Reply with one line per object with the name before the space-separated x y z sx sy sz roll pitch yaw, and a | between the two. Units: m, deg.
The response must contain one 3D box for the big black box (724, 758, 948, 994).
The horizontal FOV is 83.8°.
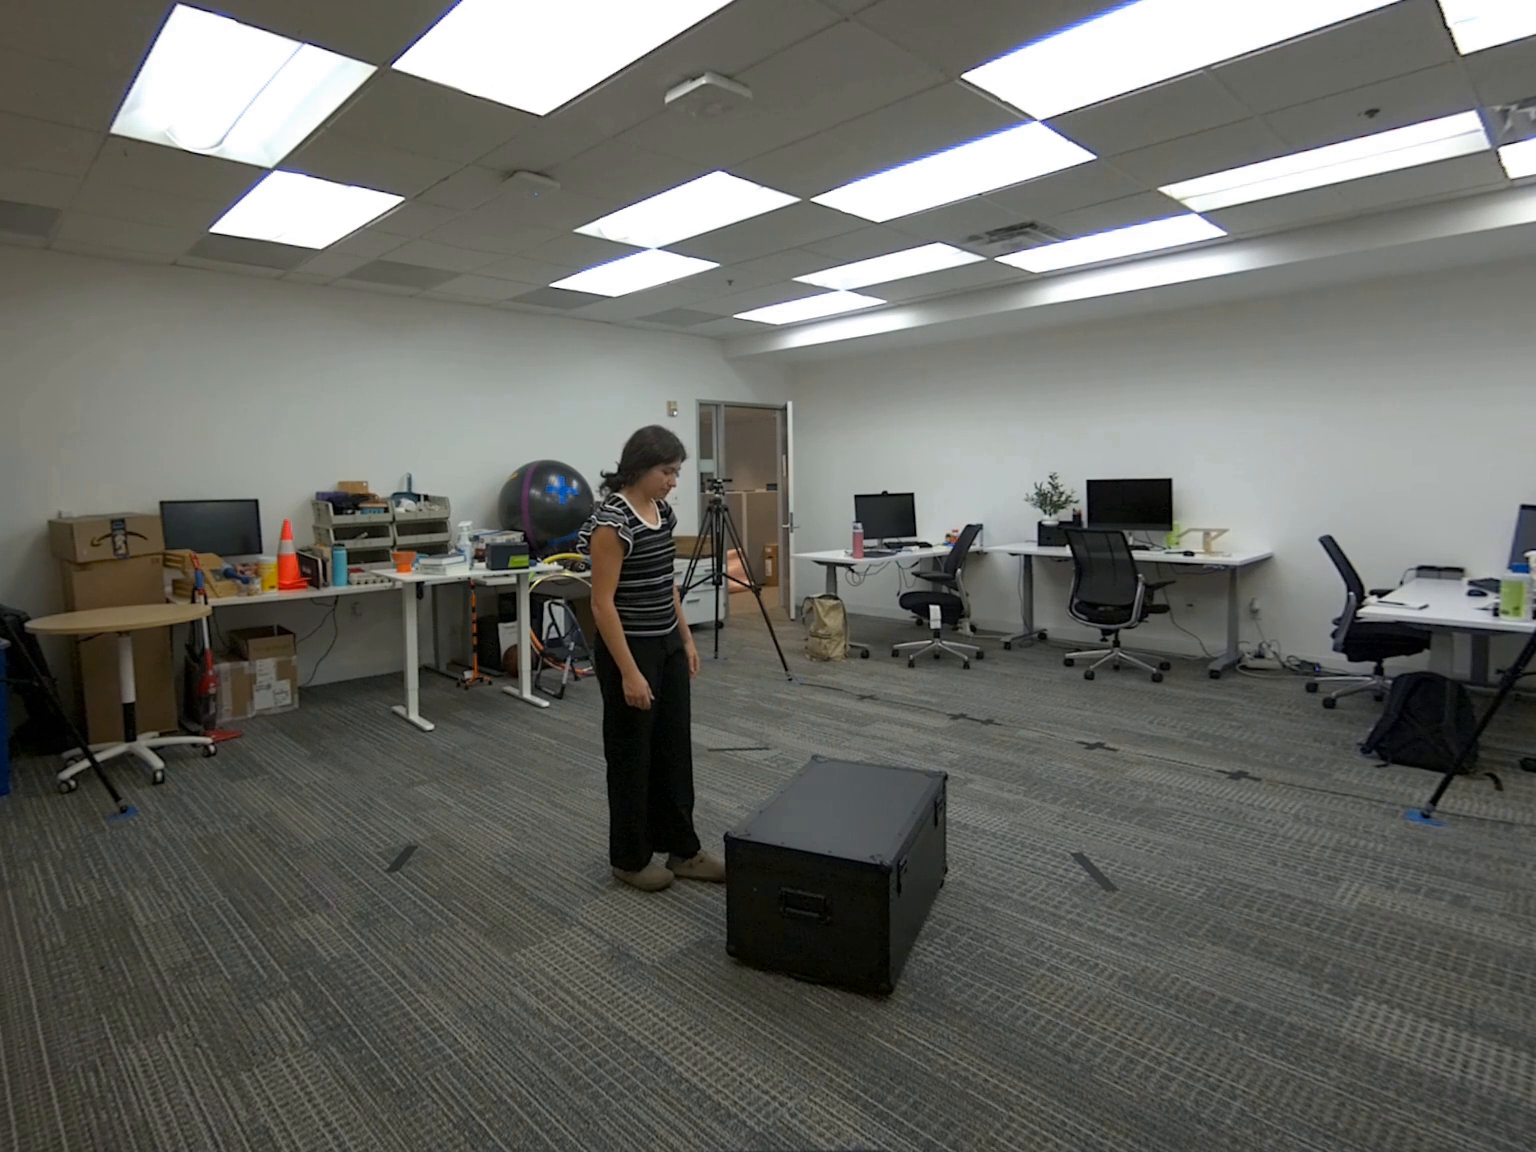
big black box | 0.263 0.891 2.730 0.532 0.394 0.847 0 7 23
